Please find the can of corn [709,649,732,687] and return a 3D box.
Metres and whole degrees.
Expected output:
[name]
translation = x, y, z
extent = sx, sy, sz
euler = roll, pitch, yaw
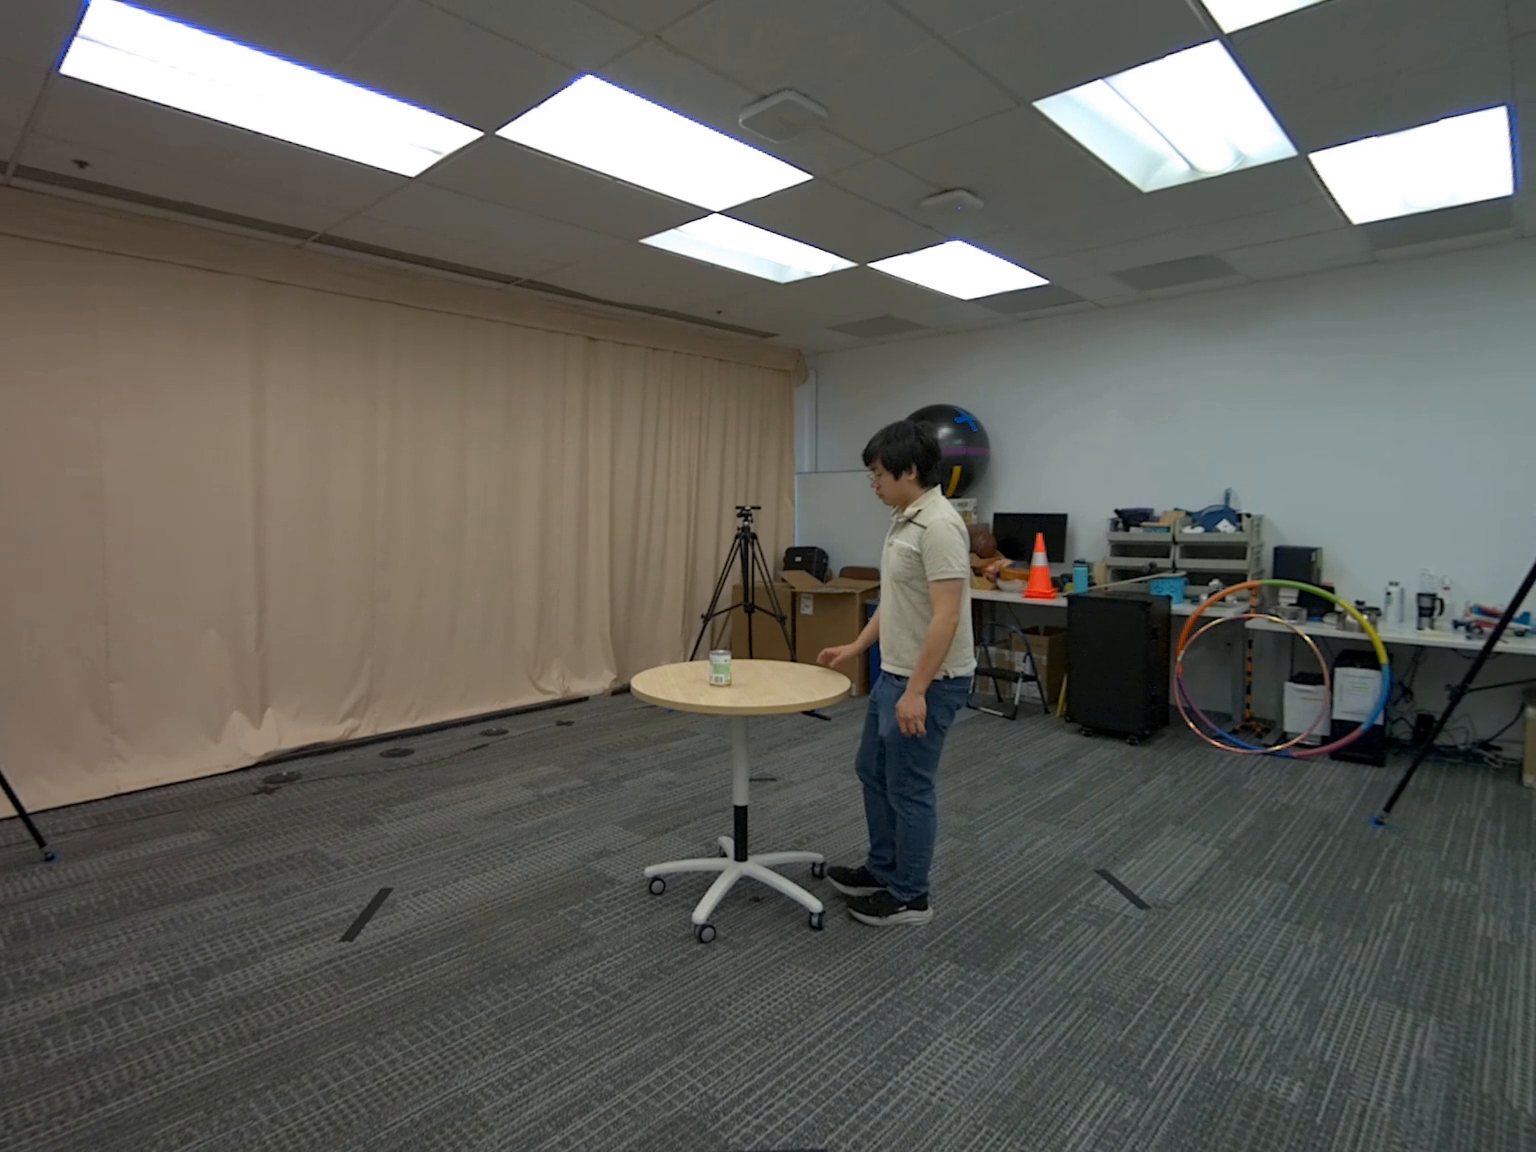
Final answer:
[can of corn]
translation = -0.158, 0.322, 2.867
extent = 0.074, 0.111, 0.074
euler = 0, 1, -2
